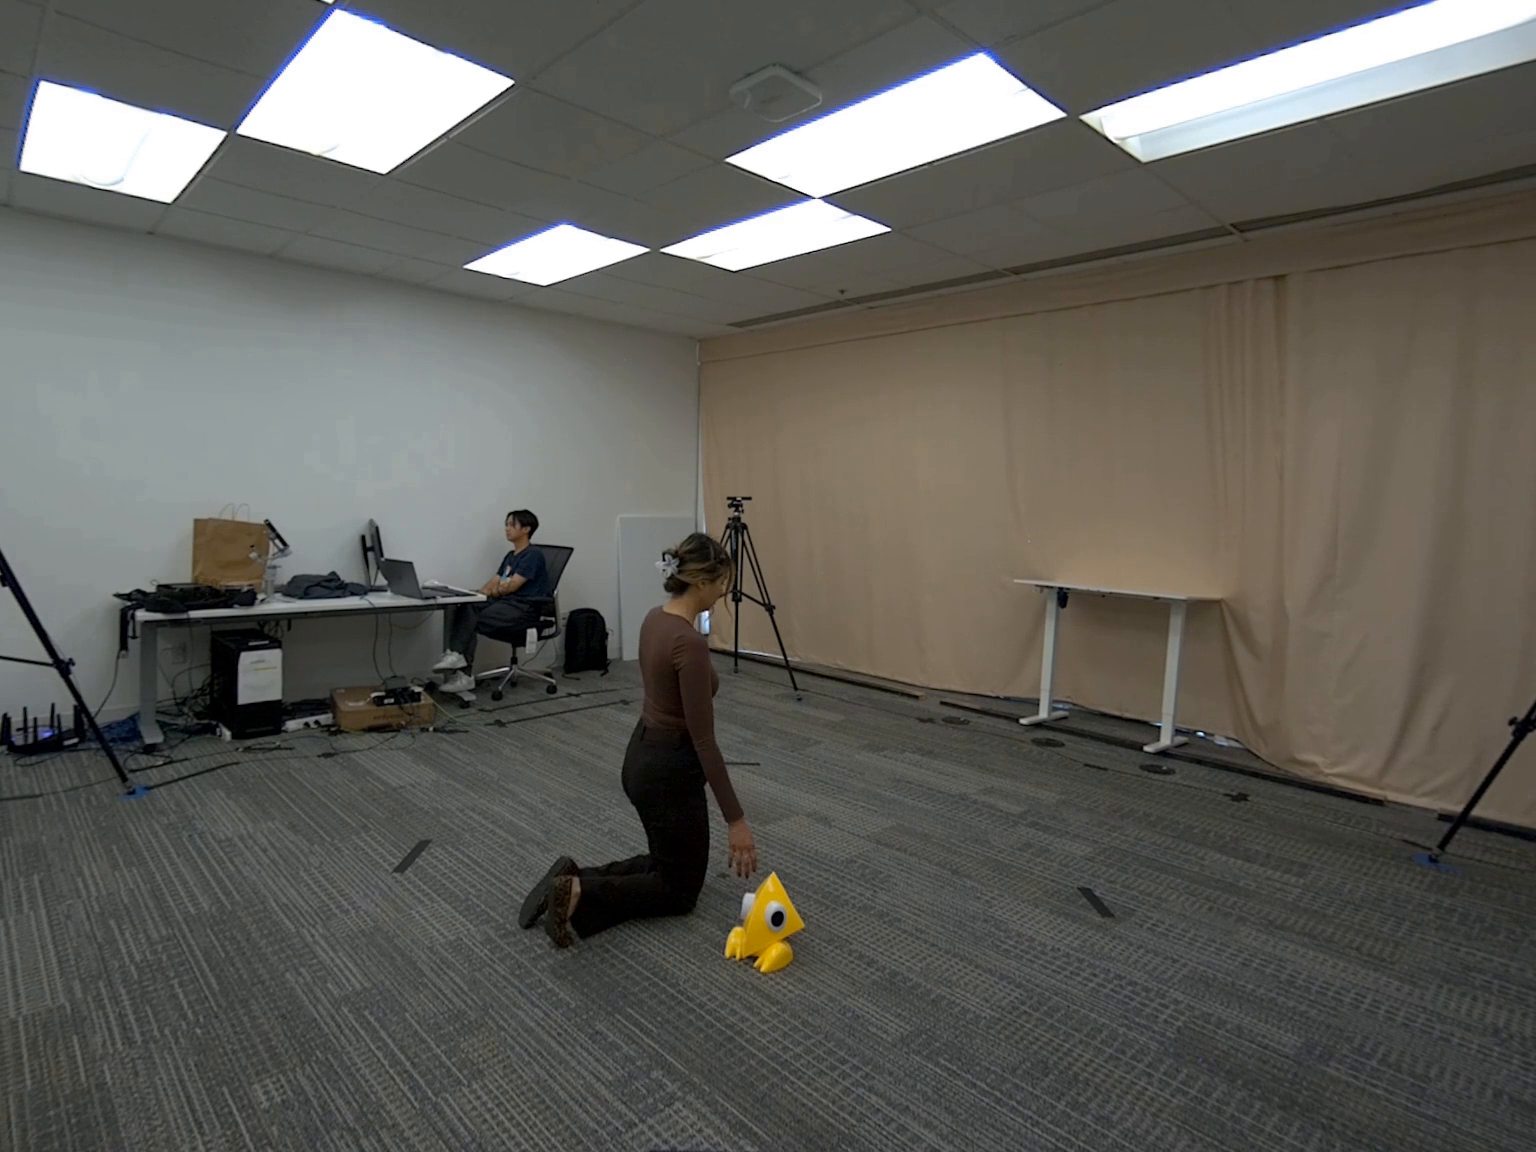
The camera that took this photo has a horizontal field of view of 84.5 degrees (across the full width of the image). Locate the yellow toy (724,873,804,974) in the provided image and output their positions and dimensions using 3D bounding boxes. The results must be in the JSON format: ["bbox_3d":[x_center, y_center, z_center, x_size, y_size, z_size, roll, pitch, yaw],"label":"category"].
[{"bbox_3d":[-0.023,1.046,2.574,0.210,0.230,0.189,5,5,35],"label":"yellow toy"}]
